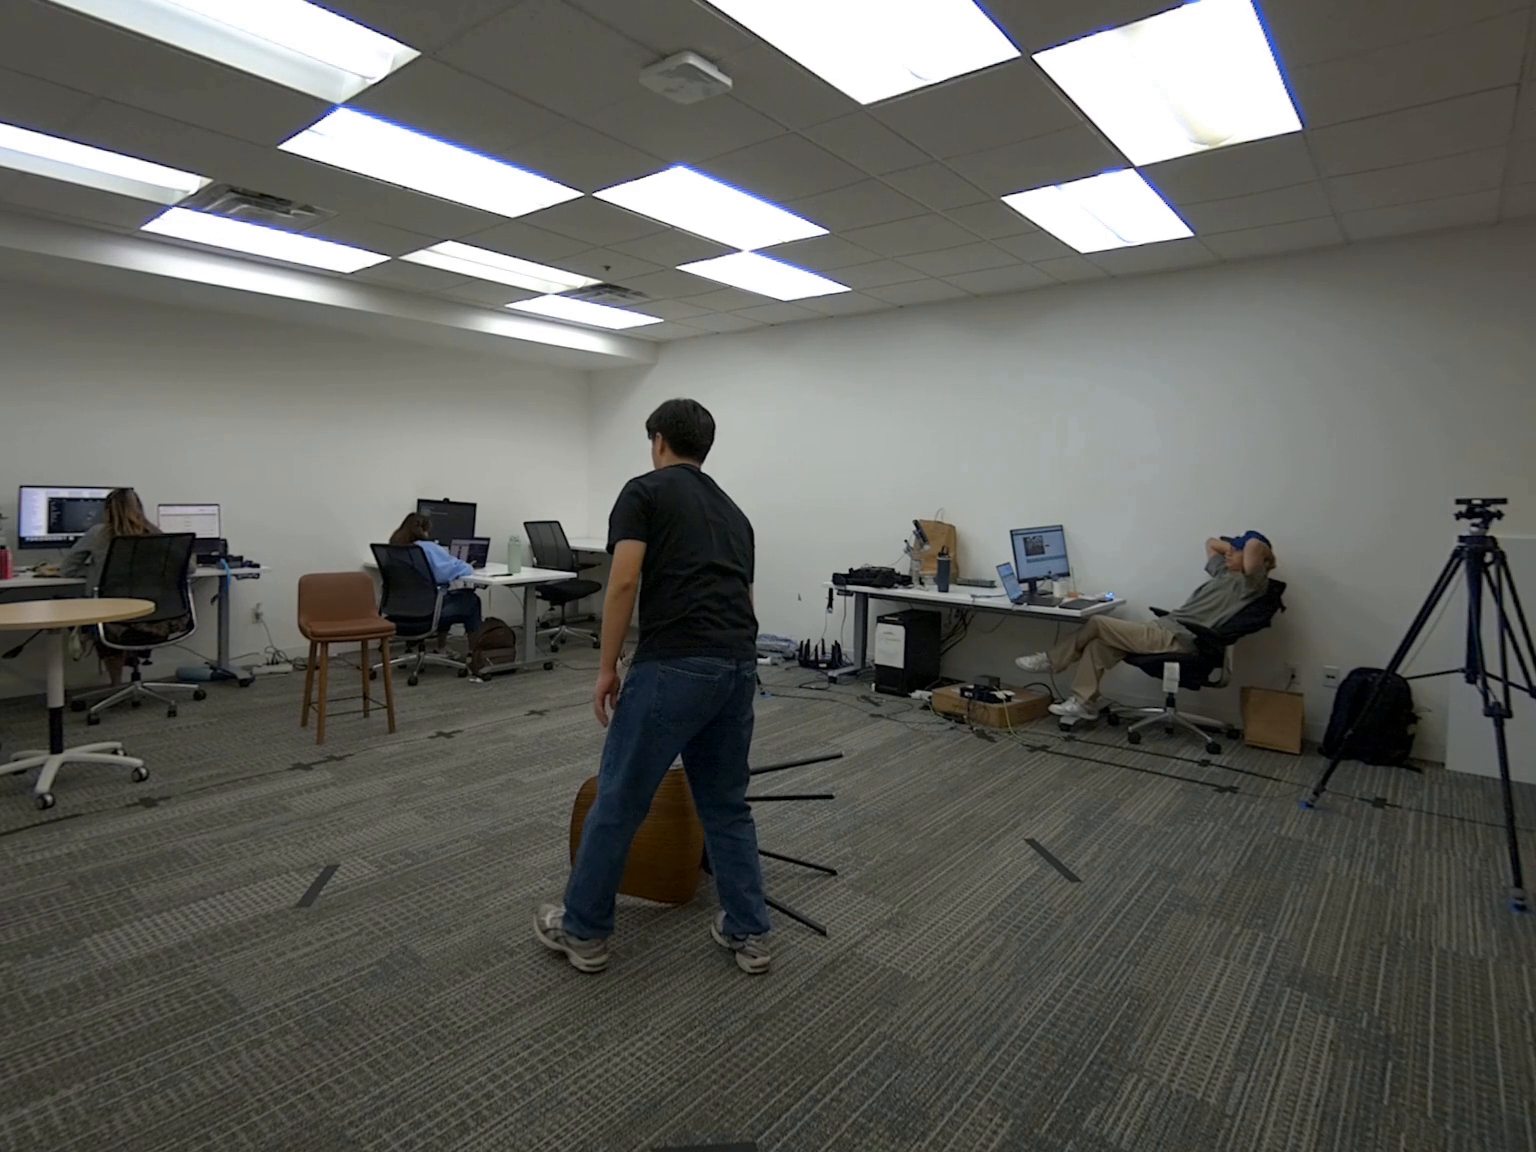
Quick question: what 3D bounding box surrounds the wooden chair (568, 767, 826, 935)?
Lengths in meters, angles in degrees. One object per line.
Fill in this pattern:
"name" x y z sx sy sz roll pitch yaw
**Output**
"wooden chair" -0.206 0.849 2.956 0.885 0.476 0.521 2 5 7
